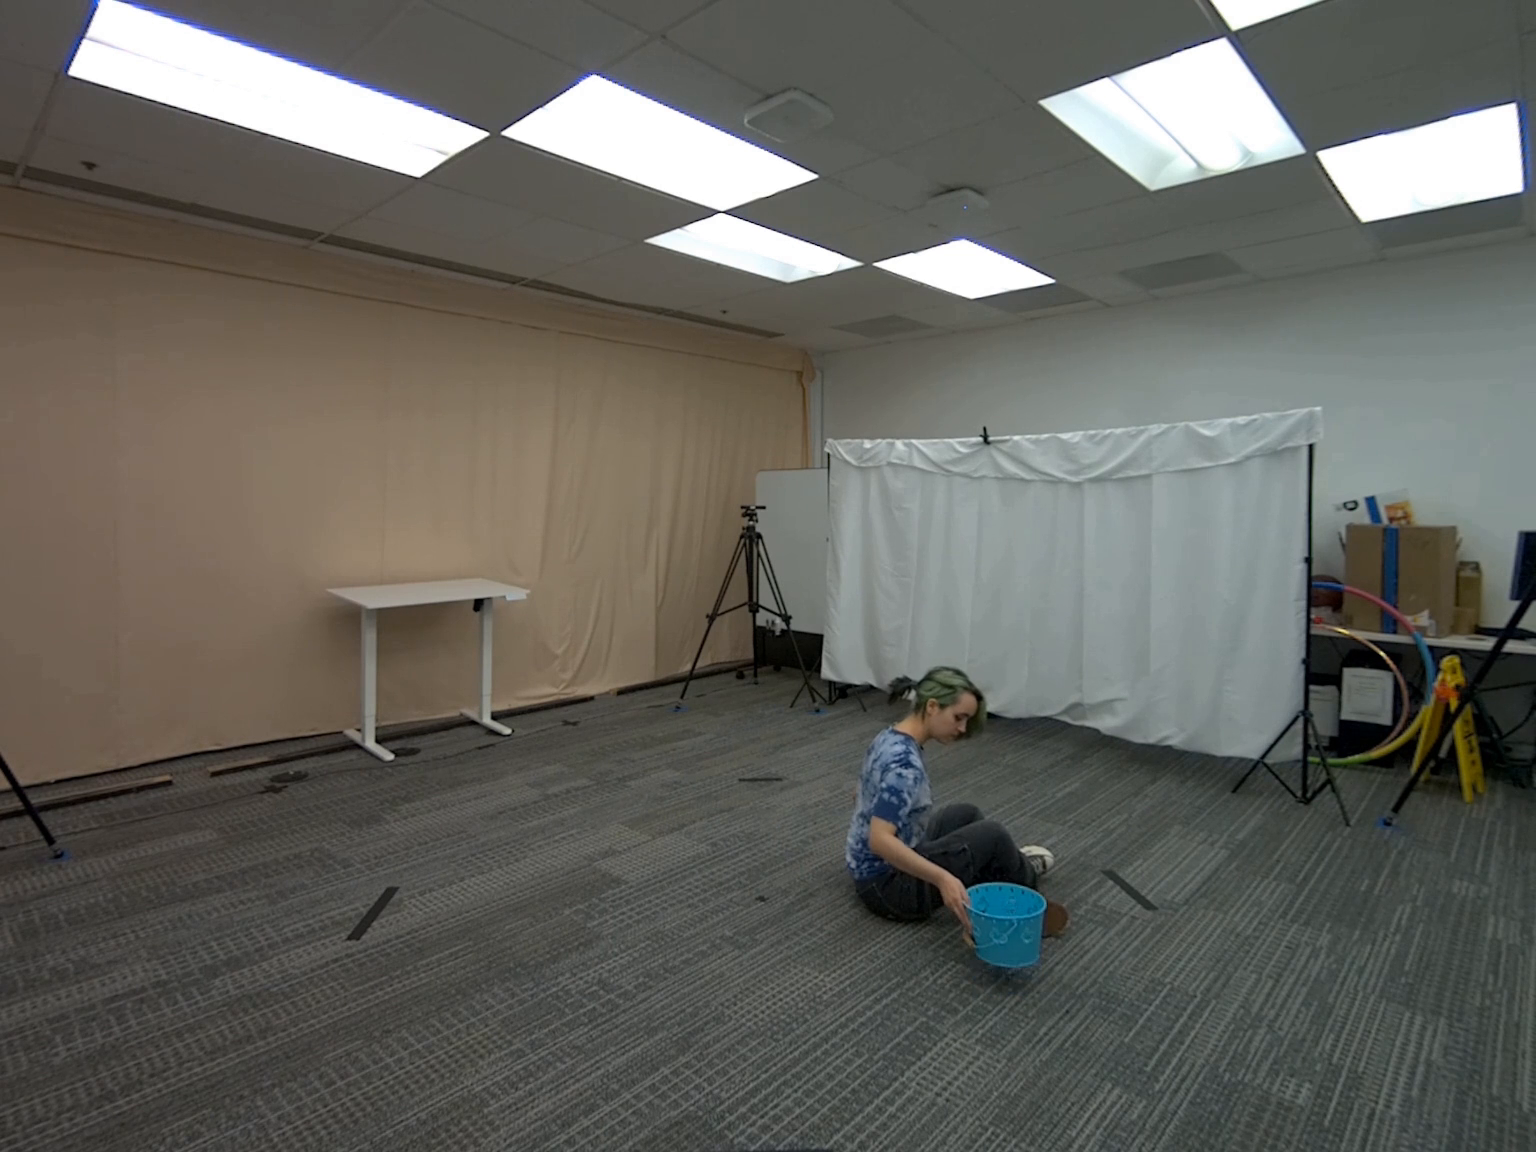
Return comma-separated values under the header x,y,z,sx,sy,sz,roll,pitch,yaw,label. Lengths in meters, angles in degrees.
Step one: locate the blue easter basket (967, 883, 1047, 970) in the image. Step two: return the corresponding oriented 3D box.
x,y,z,sx,sy,sz,roll,pitch,yaw,label
0.706,1.013,2.463,0.243,0.155,0.244,-4,5,-2,blue easter basket
